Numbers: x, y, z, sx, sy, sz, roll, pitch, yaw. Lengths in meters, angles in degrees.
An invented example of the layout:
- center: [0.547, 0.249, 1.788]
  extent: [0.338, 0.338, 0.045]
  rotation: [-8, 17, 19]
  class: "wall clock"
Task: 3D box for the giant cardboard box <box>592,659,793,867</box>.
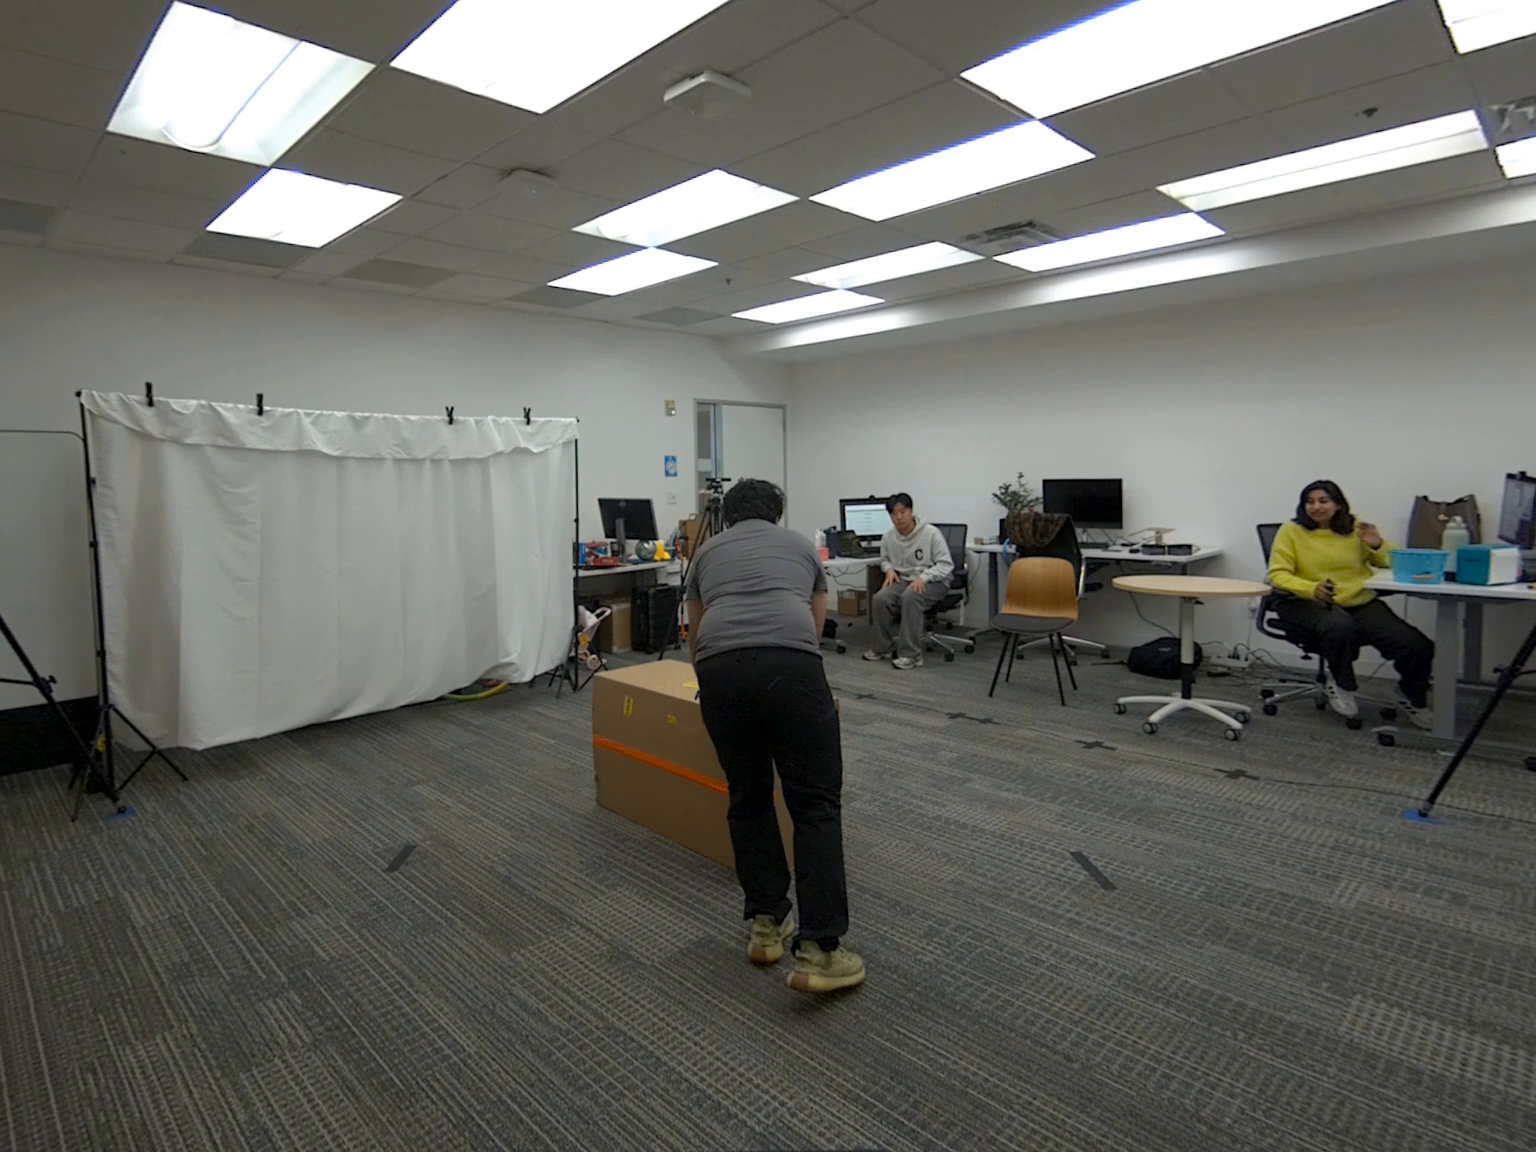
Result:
- center: [-0.244, 0.725, 3.441]
  extent: [0.415, 0.575, 1.058]
  rotation: [-5, 7, -43]
  class: "giant cardboard box"
